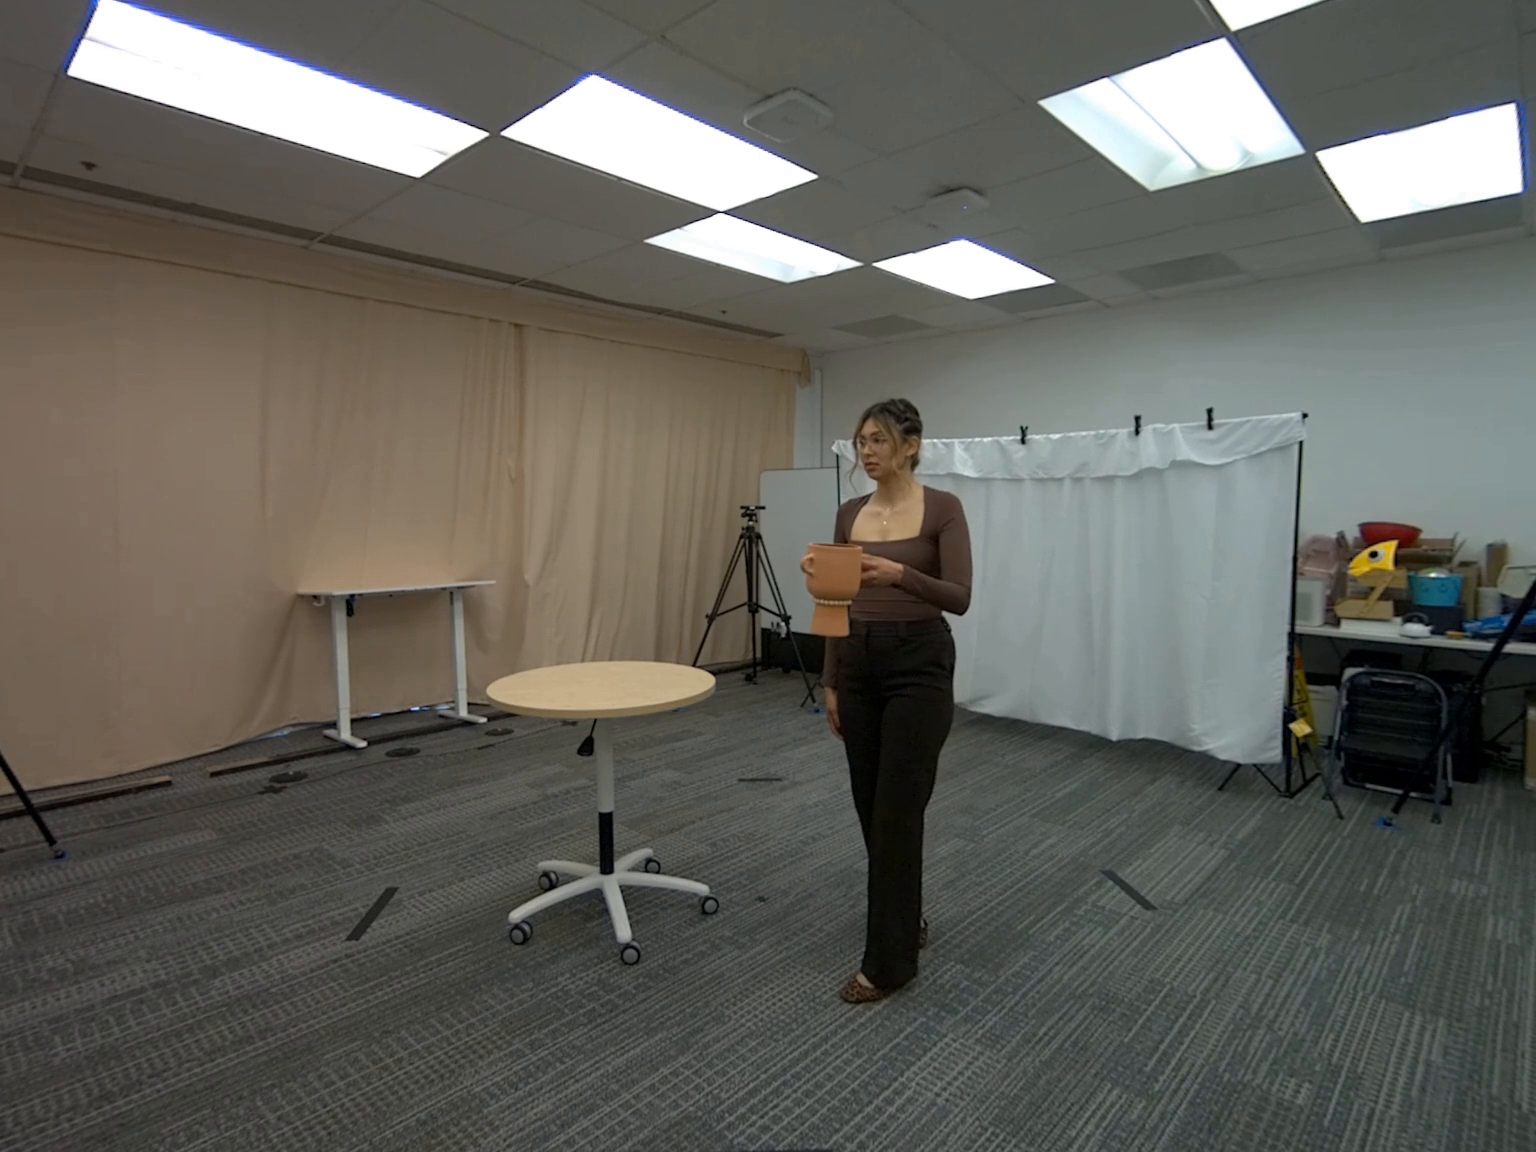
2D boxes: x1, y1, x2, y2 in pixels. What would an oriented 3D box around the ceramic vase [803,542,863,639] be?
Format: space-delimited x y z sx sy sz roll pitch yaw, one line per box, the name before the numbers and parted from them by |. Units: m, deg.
ceramic vase | 0.175 0.034 2.067 0.160 0.219 0.133 3 4 8
